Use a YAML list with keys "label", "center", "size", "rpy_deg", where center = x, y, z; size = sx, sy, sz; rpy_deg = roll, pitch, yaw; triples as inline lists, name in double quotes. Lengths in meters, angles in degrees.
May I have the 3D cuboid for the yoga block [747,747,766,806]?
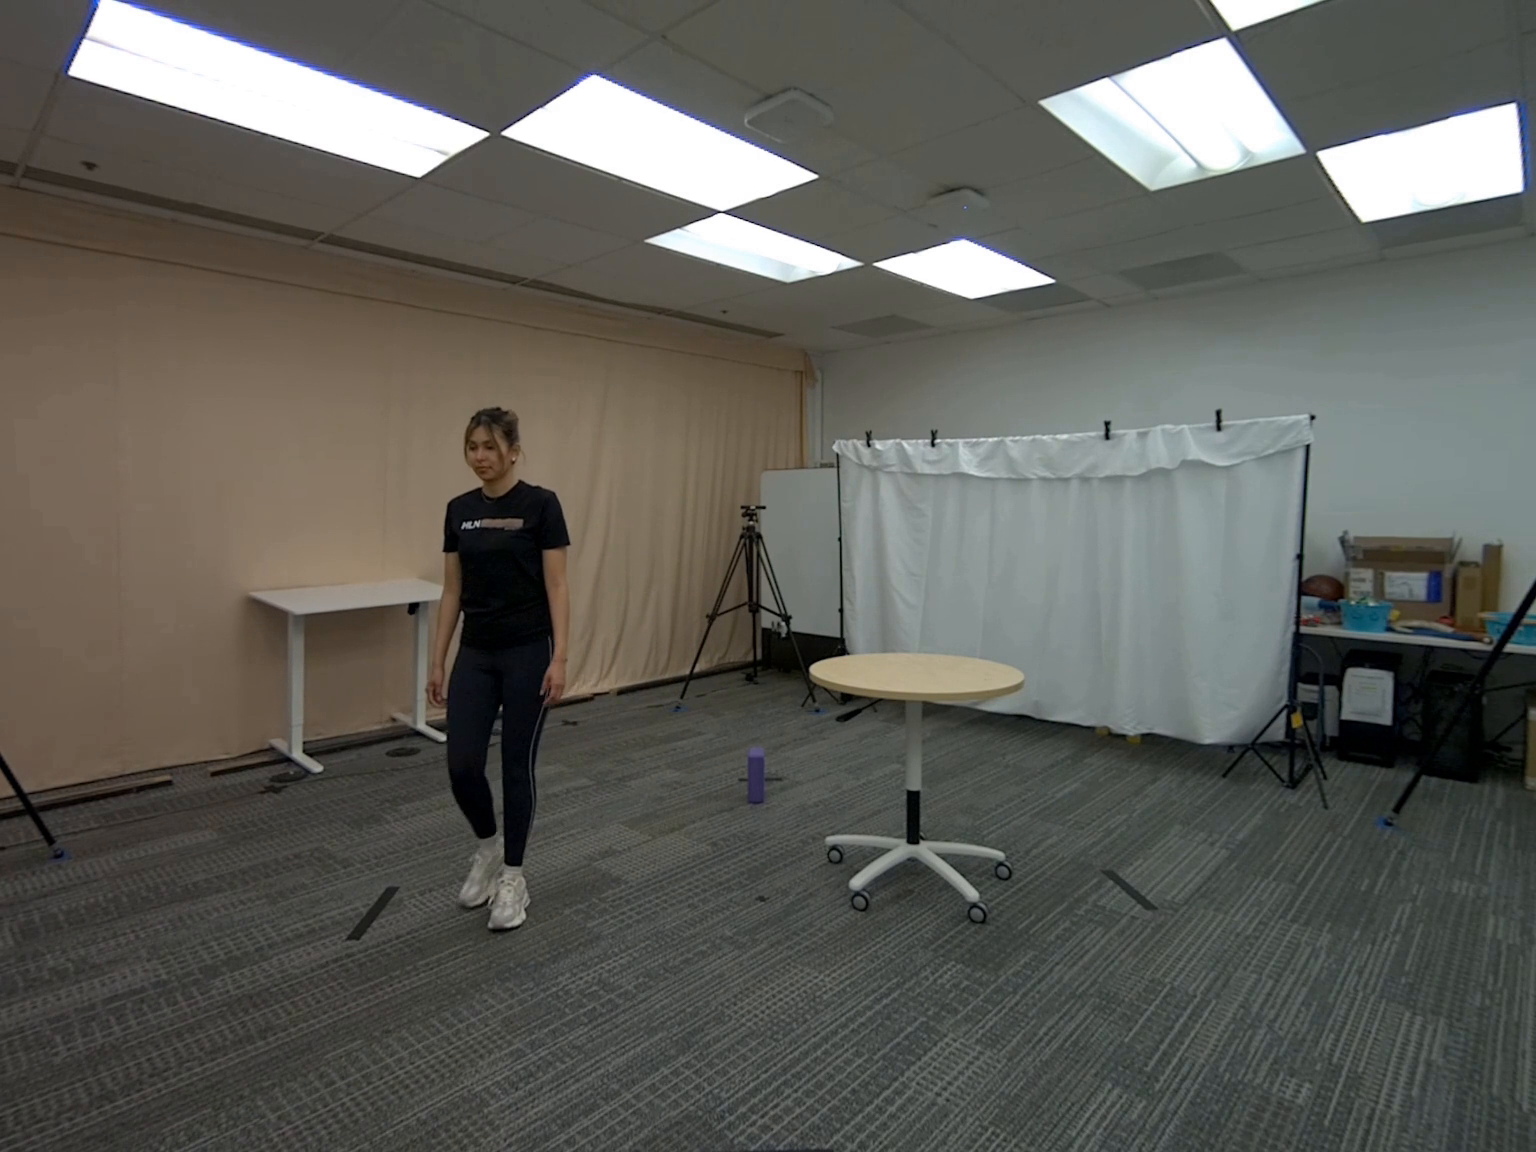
- label: "yoga block"
  center: [-0.057, 0.943, 4.008]
  size: [0.077, 0.229, 0.148]
  rpy_deg: [-1, 1, 2]
